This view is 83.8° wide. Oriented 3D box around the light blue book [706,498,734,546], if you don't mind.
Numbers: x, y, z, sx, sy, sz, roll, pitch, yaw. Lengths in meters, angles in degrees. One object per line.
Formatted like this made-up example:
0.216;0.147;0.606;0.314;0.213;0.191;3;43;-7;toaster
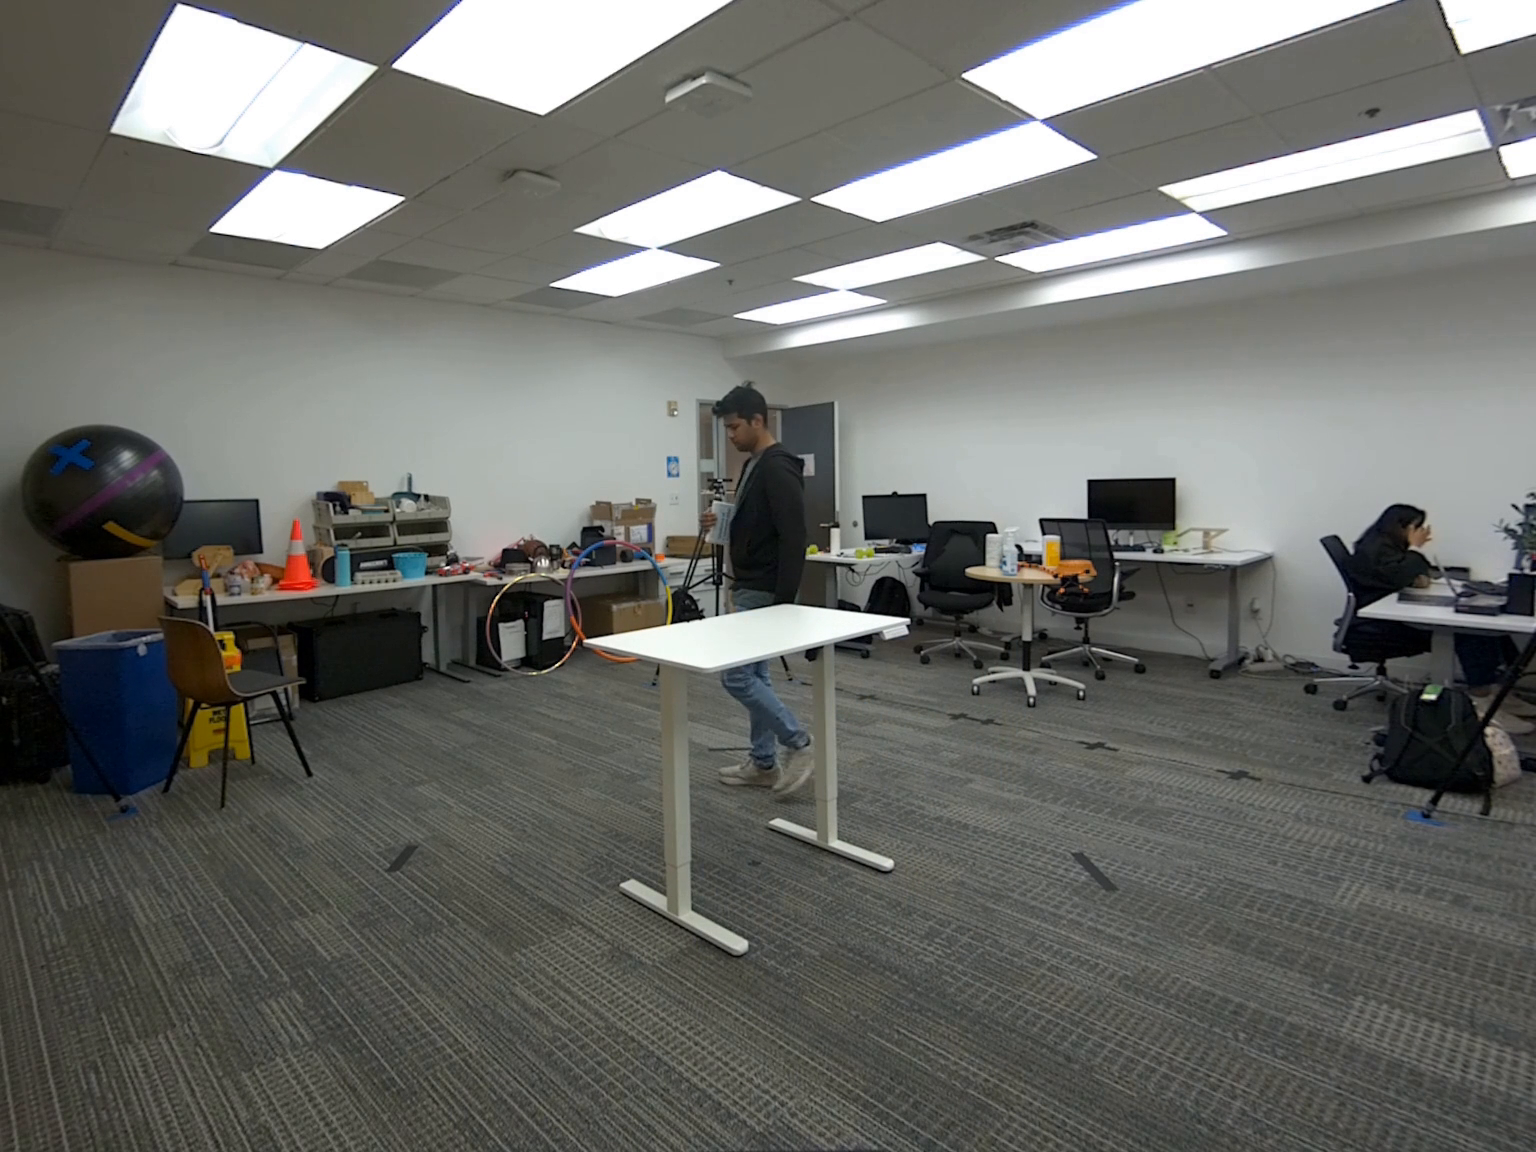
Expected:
-0.129;-0.228;3.888;0.259;0.190;0.060;12;10;-7;light blue book
